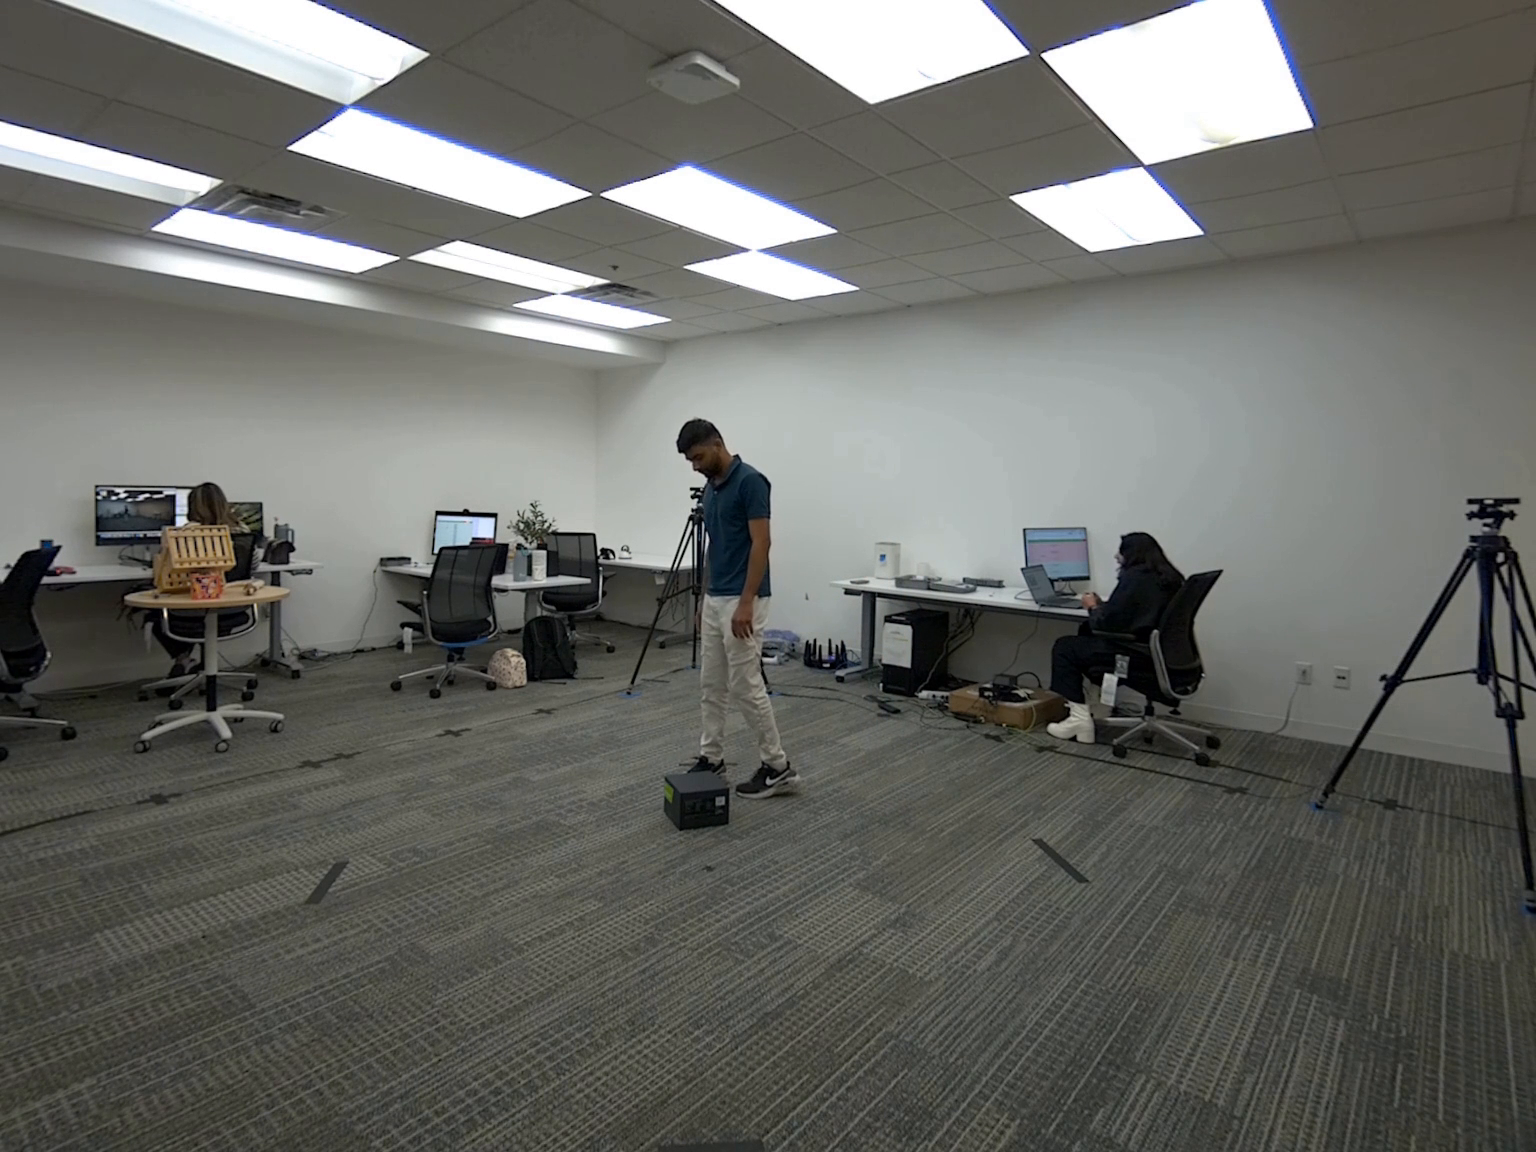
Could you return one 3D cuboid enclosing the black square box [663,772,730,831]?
[{"bbox_3d":[-0.314,0.935,3.584,0.212,0.155,0.234,-1,5,-23],"label":"black square box"}]
